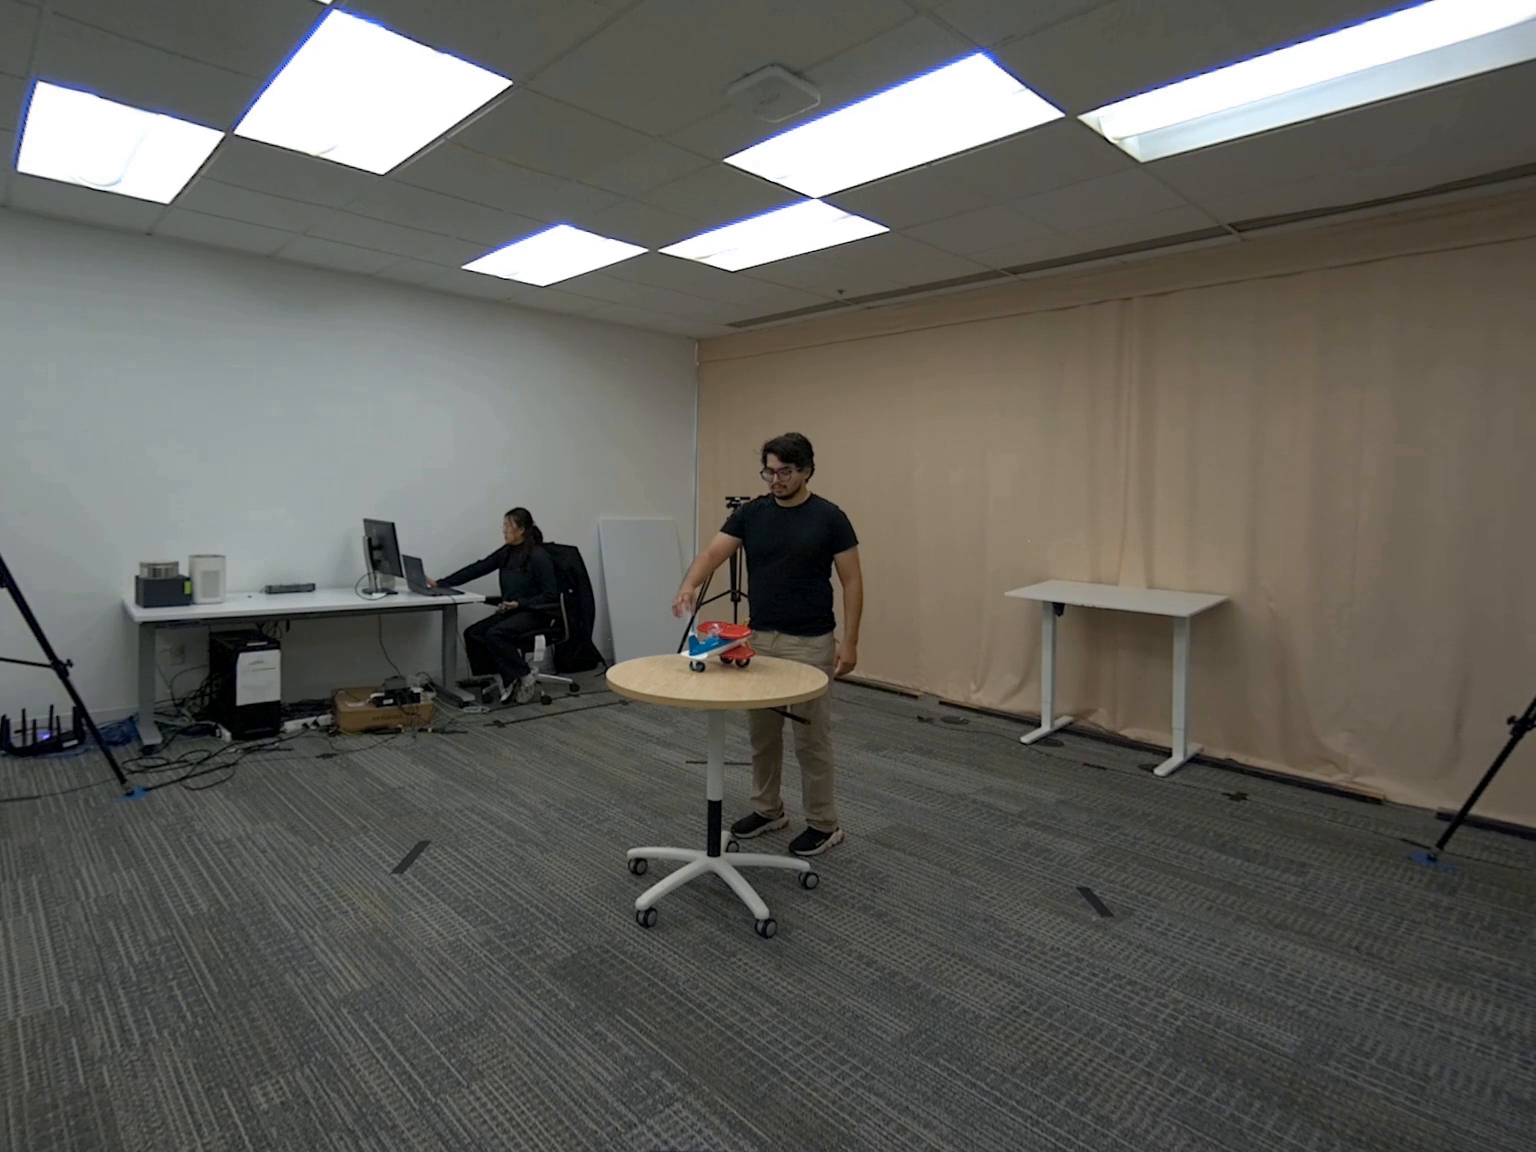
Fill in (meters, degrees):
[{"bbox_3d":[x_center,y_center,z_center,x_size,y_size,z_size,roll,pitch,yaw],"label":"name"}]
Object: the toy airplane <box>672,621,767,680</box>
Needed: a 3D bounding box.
[{"bbox_3d":[-0.169,0.255,2.992,0.255,0.156,0.255,2,3,21],"label":"toy airplane"}]
